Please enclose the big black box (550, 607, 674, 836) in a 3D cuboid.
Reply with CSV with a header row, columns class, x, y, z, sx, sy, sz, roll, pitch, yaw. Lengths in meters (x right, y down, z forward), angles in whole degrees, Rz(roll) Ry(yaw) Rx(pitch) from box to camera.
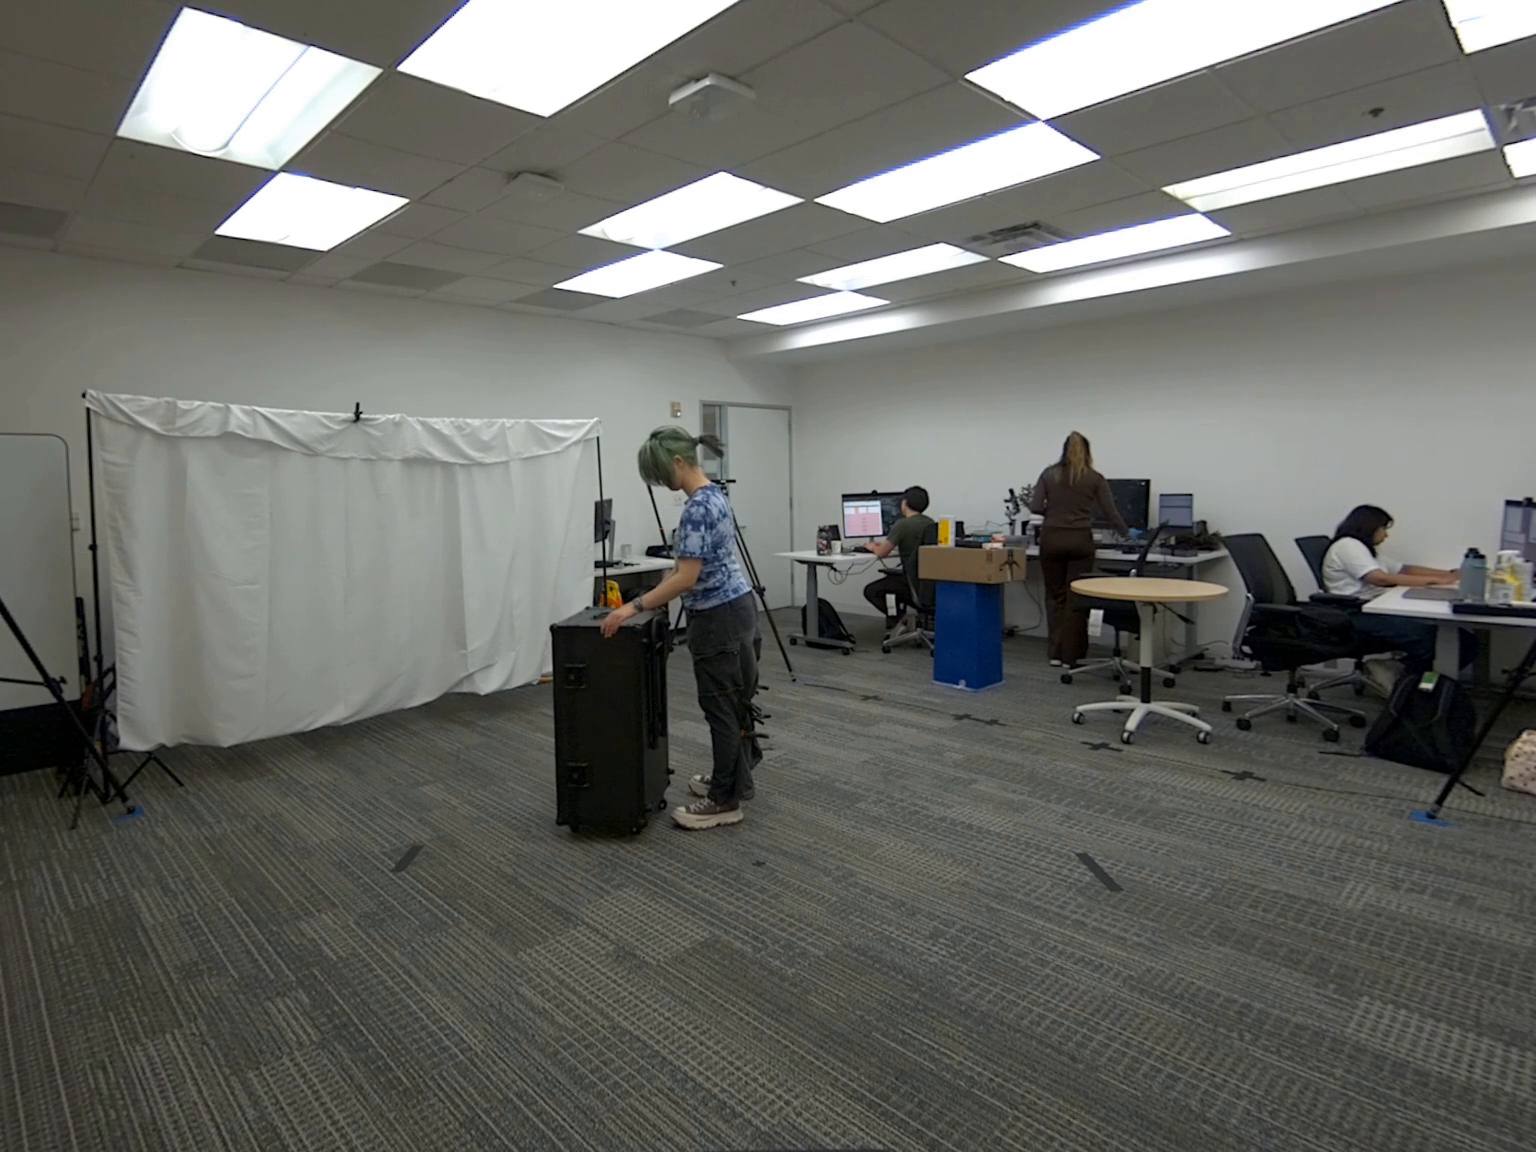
class,x,y,z,sx,sy,sz,roll,pitch,yaw
big black box,-0.623,0.591,3.521,0.400,0.859,0.518,0,3,8
